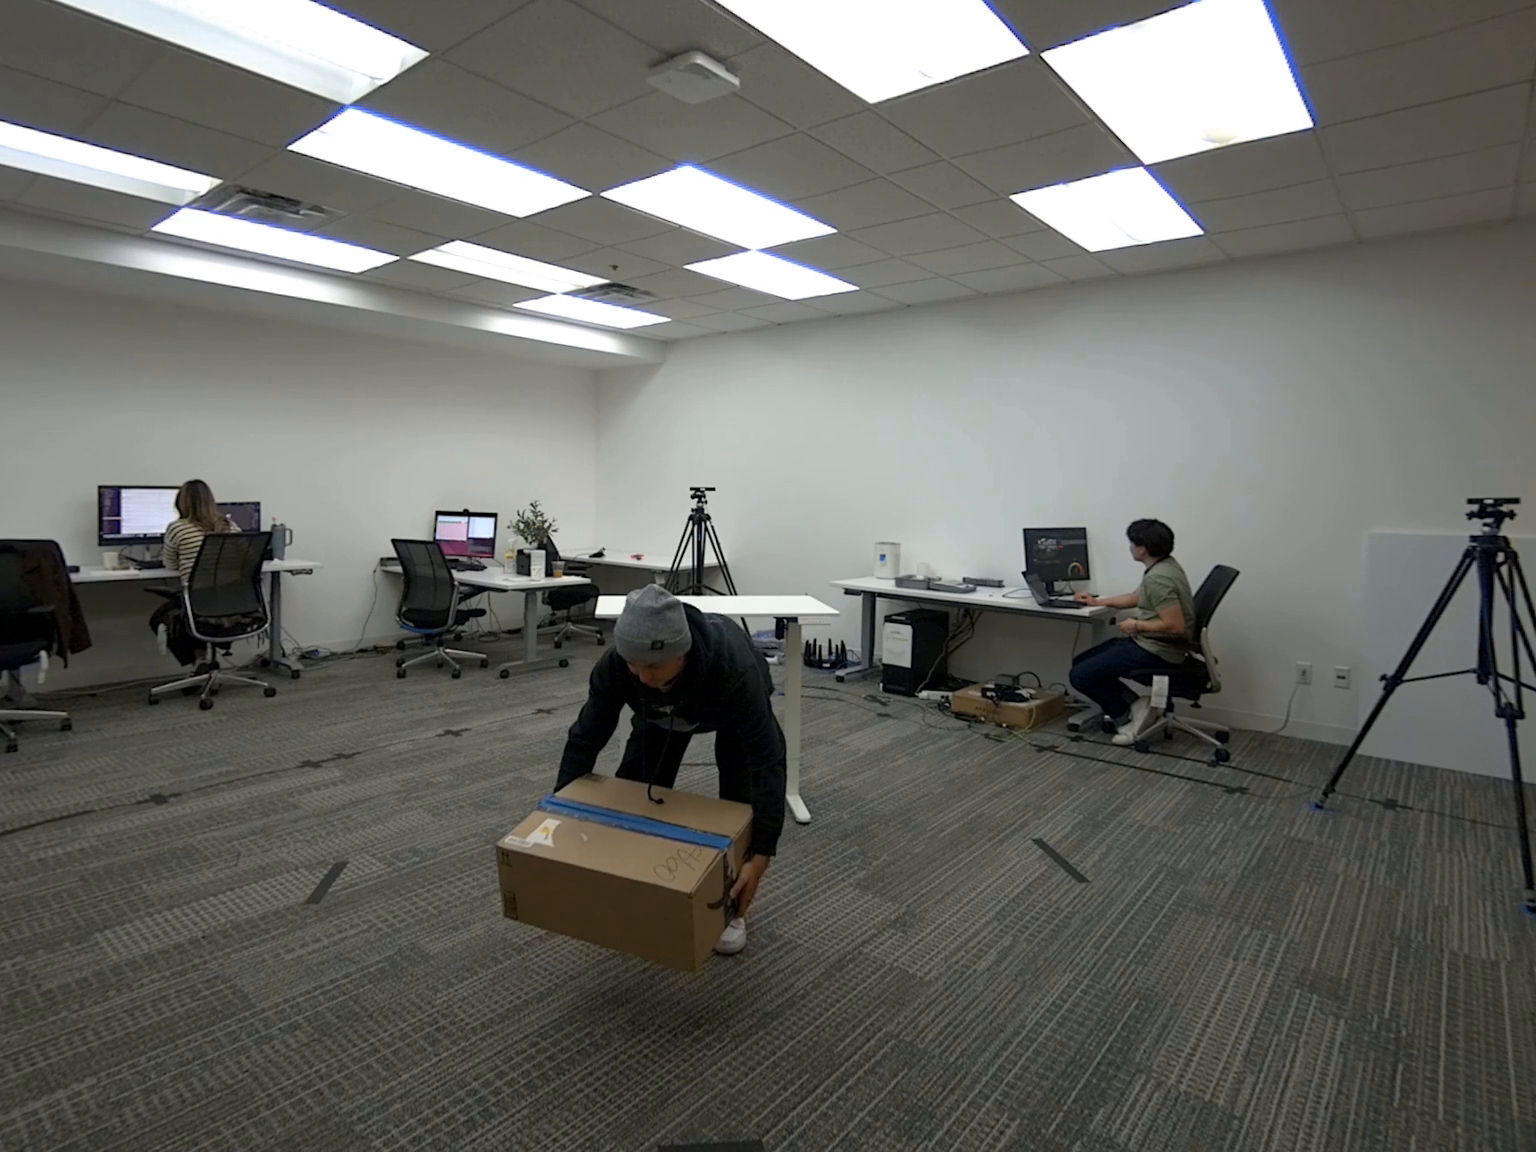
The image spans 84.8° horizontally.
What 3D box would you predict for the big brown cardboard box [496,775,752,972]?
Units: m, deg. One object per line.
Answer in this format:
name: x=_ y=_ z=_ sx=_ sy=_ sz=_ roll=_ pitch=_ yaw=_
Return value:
big brown cardboard box: x=-0.369 y=0.750 z=2.277 sx=0.604 sy=0.230 sz=0.413 roll=5 pitch=16 yaw=23
